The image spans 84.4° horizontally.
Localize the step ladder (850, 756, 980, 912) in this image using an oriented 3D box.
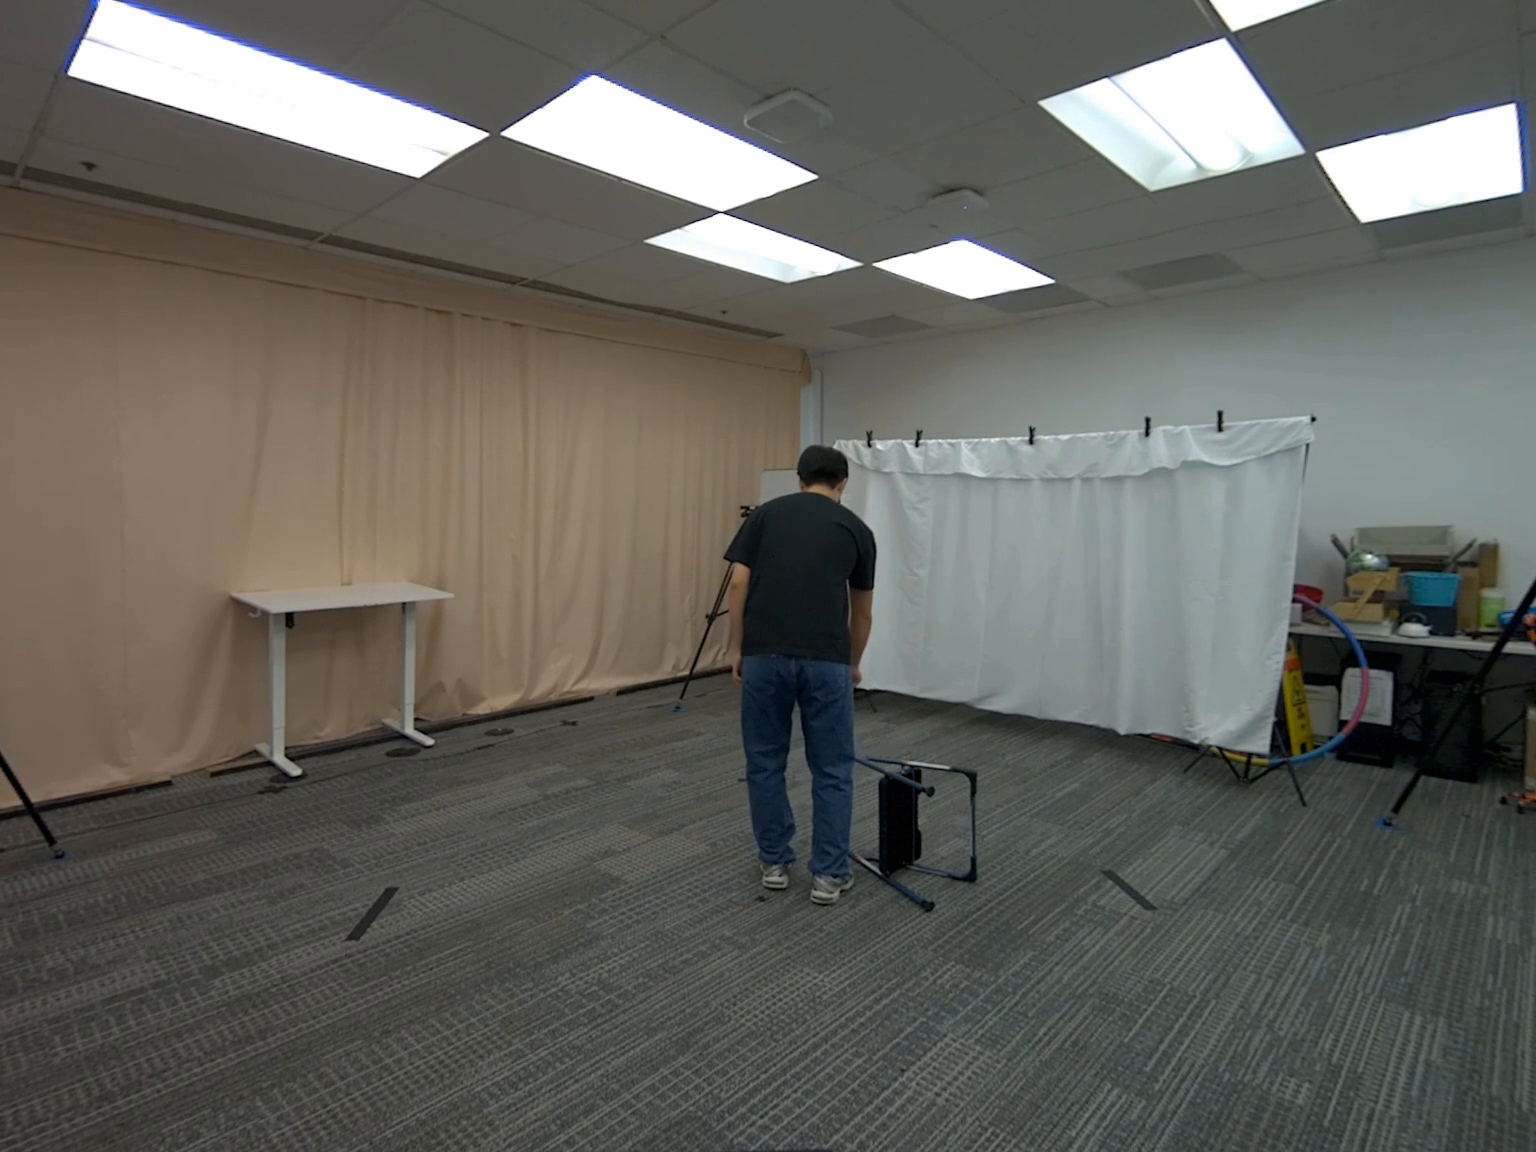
[{"bbox_3d":[0.443,0.914,3.197,0.626,0.430,0.338,3,3,44],"label":"step ladder"}]
